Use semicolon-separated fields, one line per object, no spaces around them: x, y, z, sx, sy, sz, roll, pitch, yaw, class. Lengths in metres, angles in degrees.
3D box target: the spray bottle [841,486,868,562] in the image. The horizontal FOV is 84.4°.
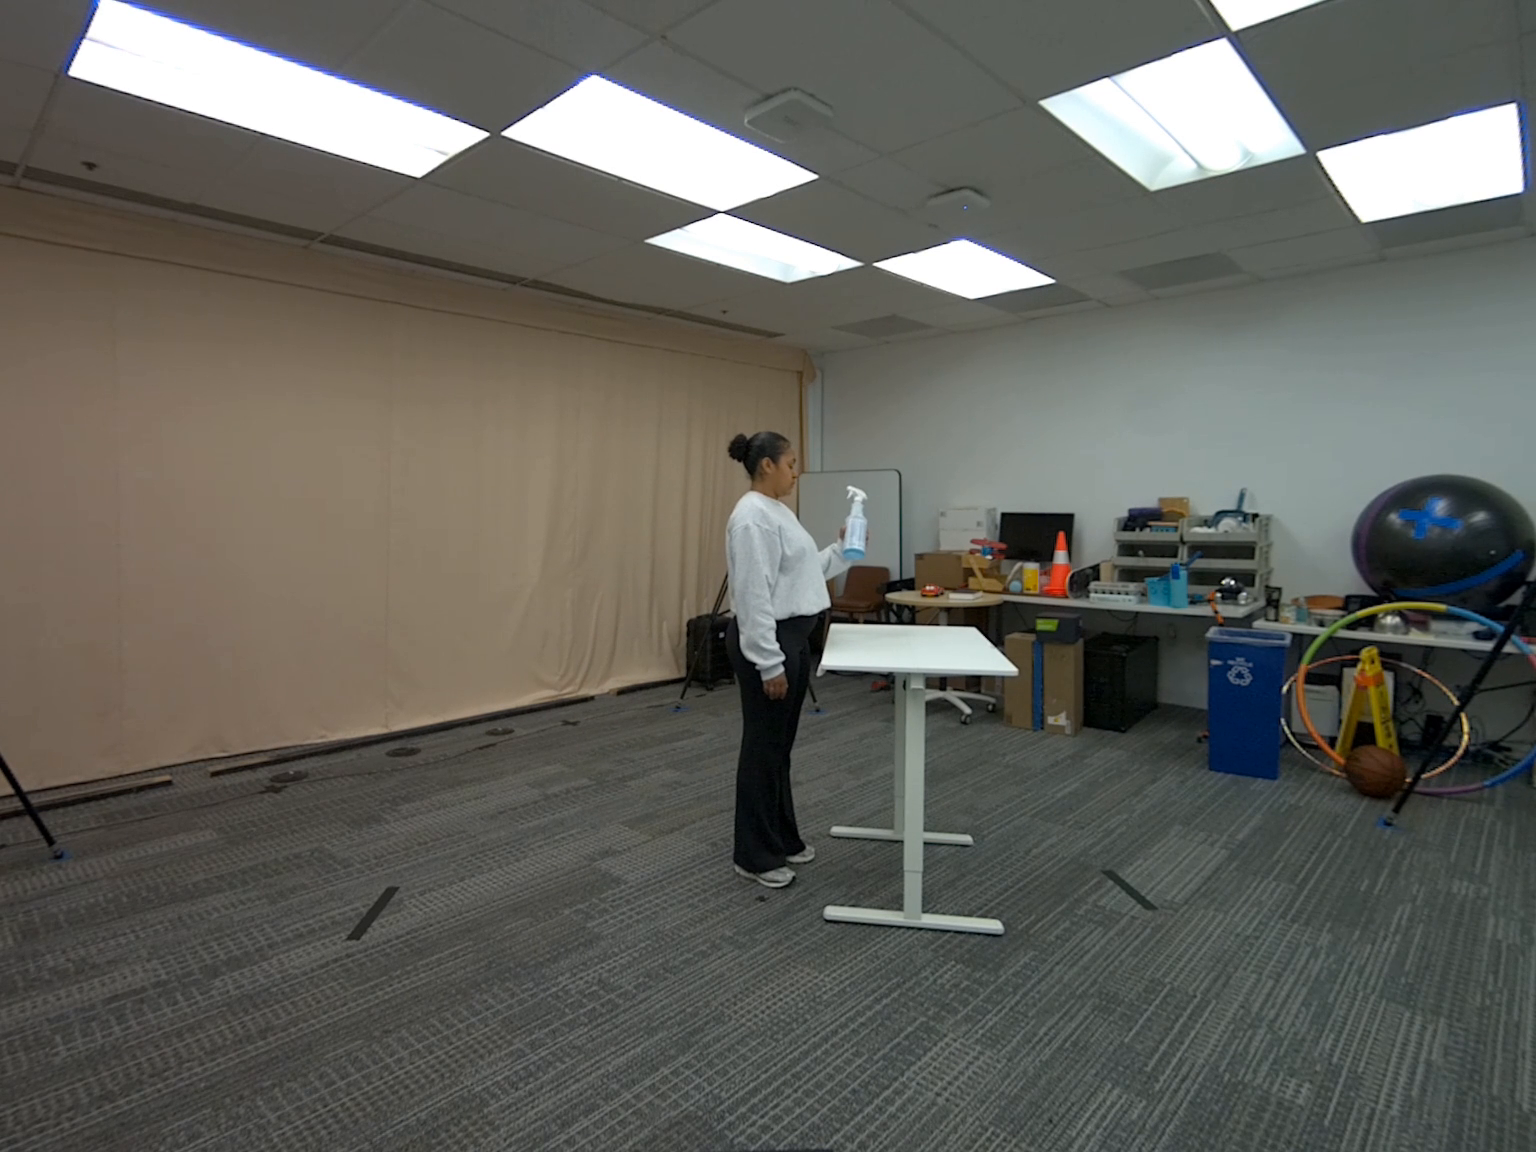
0.365;-0.209;3.359;0.090;0.300;0.086;5;-21;4;spray bottle
